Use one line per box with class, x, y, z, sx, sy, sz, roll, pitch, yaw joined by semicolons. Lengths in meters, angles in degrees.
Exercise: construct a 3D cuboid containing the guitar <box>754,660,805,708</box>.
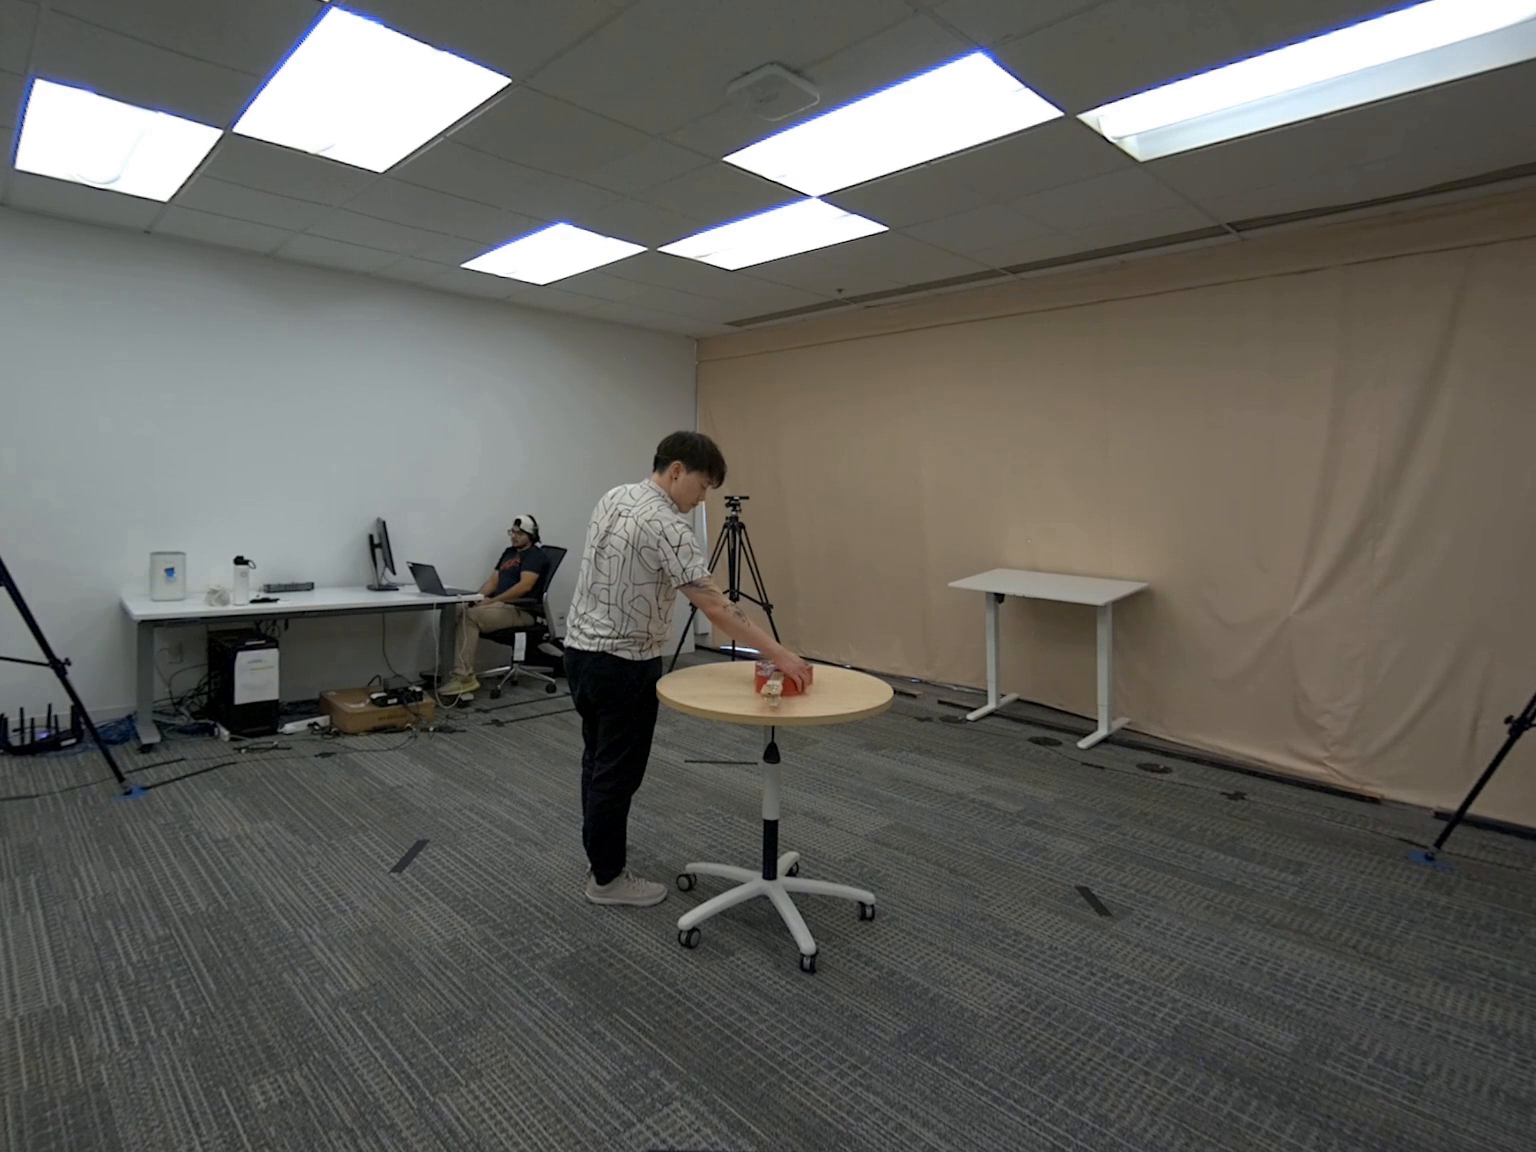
guitar;-0.013;0.338;2.613;0.196;0.070;0.492;3;6;17
